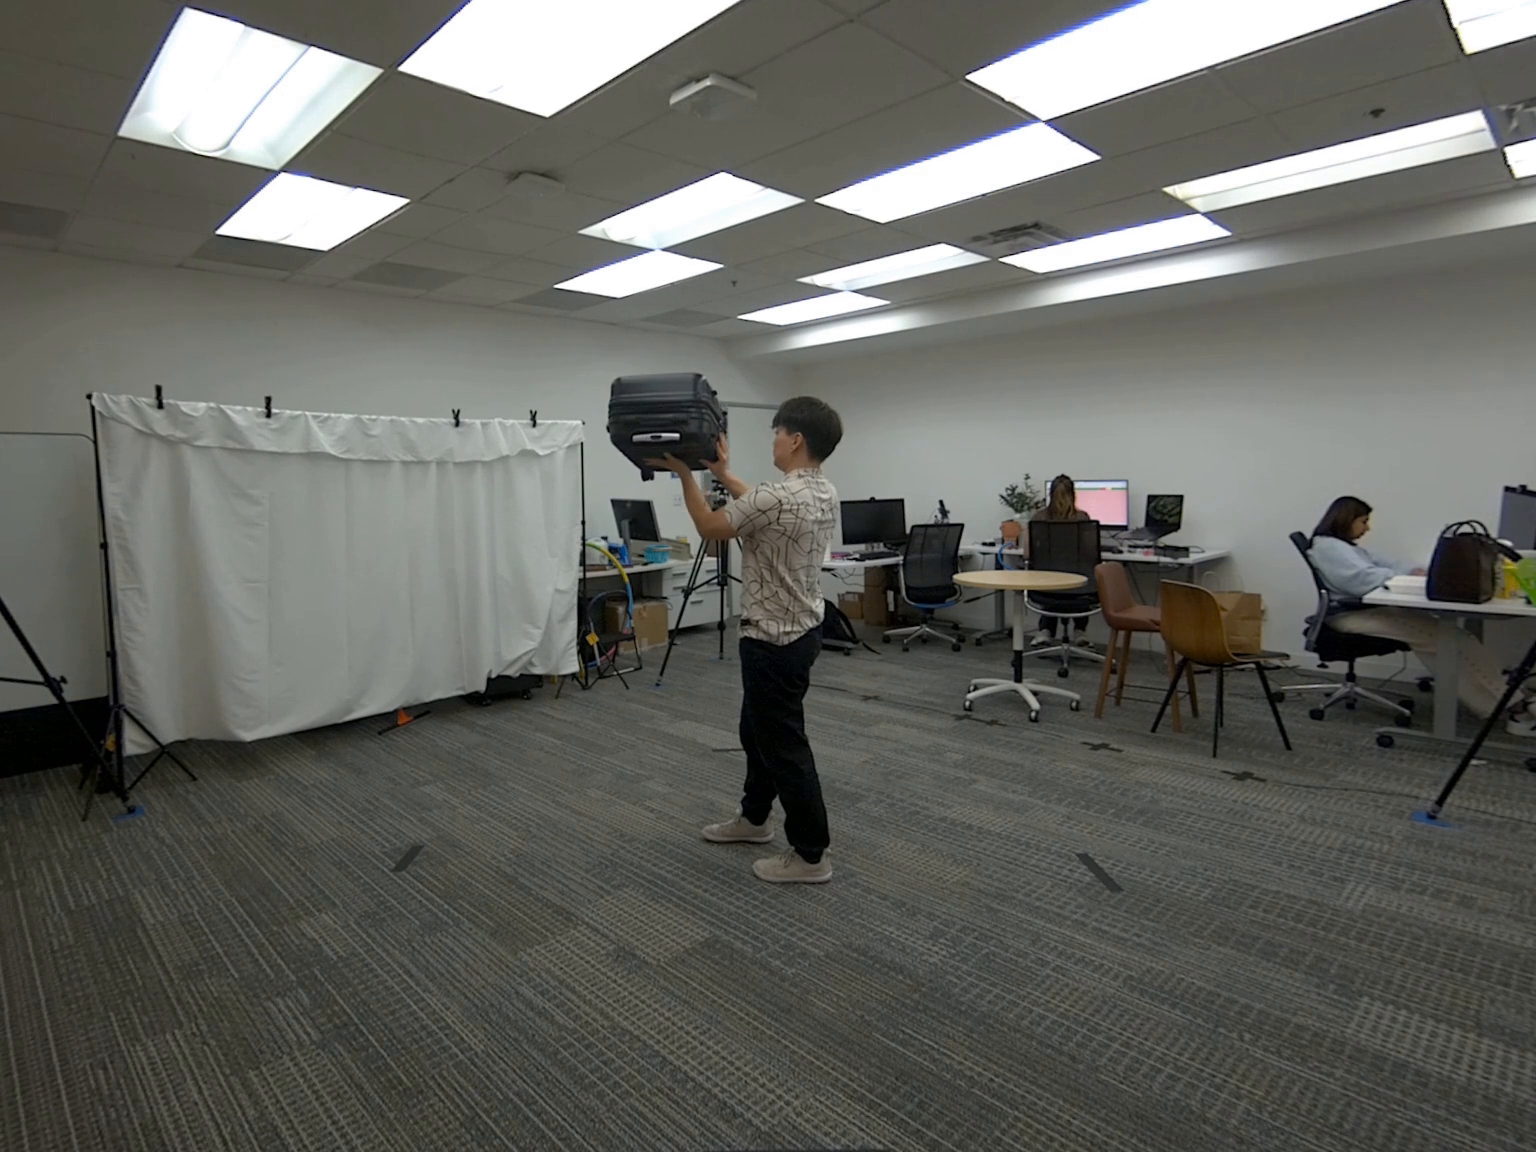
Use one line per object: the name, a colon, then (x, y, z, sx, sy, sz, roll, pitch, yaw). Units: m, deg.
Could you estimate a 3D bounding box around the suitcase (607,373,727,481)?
suitcase: (-0.354, -0.546, 3.082, 0.378, 0.250, 0.542, 1, -7, 5)
